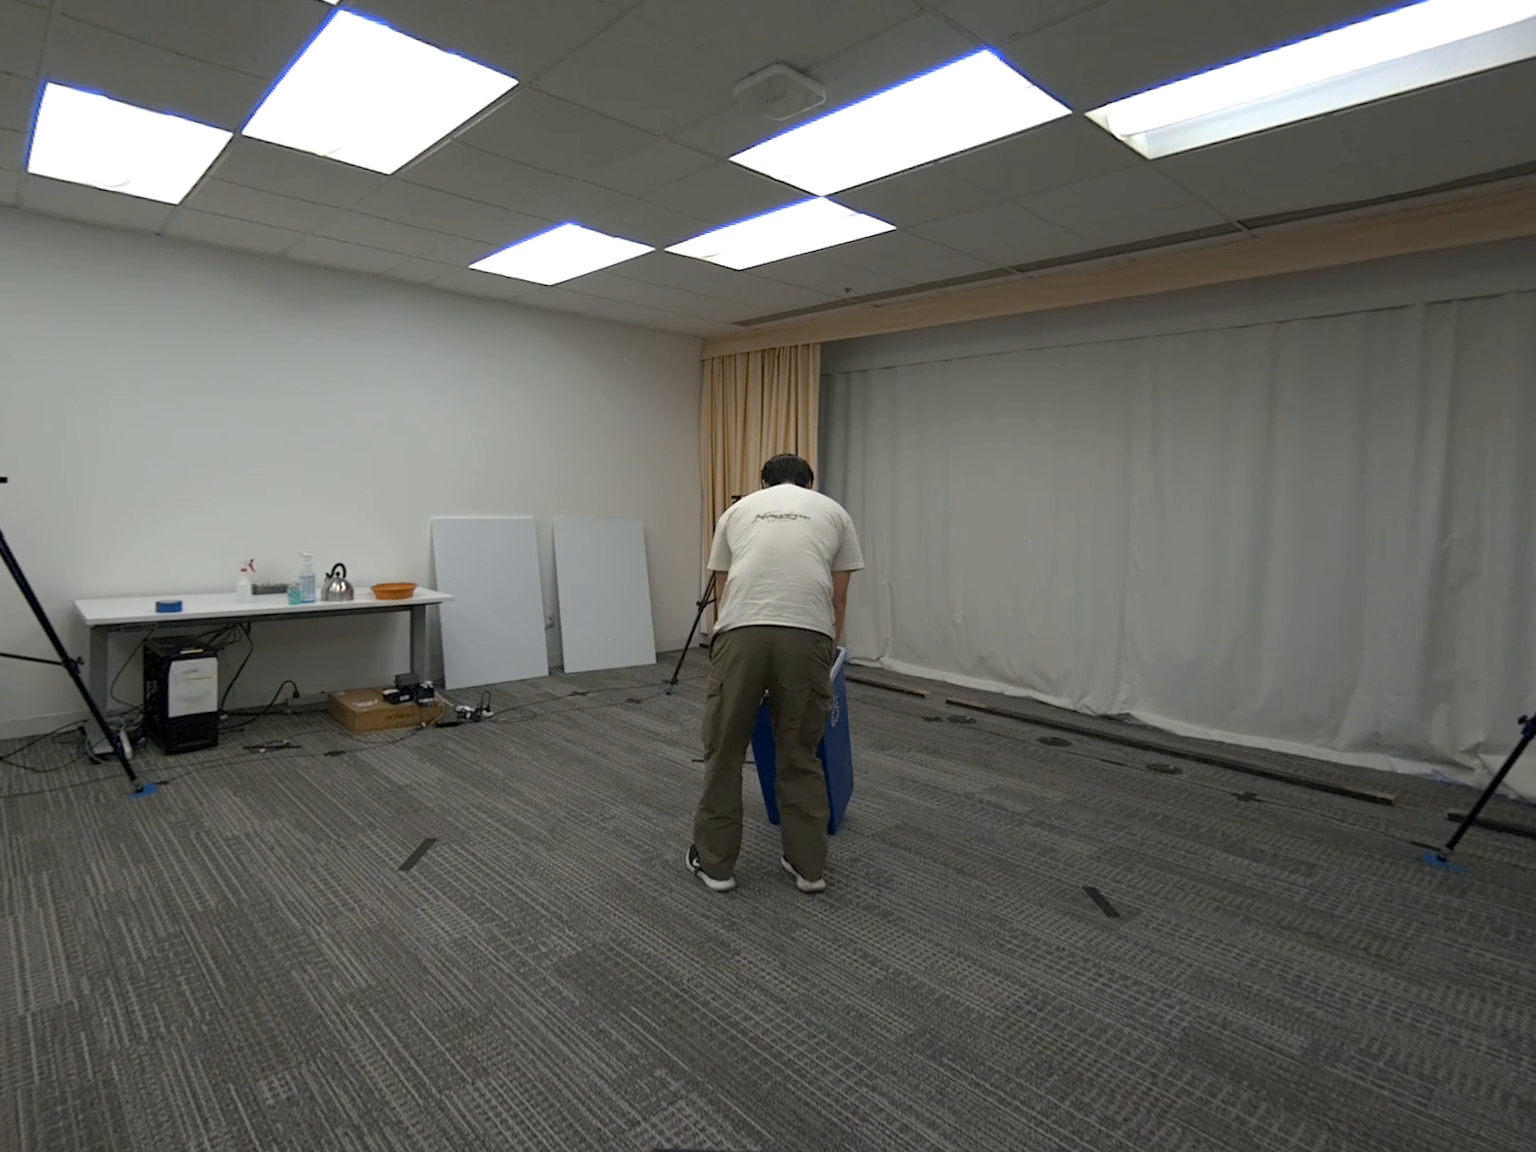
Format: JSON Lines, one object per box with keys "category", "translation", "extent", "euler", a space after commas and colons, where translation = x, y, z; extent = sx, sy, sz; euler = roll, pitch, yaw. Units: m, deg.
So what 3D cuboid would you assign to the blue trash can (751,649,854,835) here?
{"category": "blue trash can", "translation": [0.145, 0.684, 3.531], "extent": [0.385, 0.699, 0.374], "euler": [2, 28, 23]}
